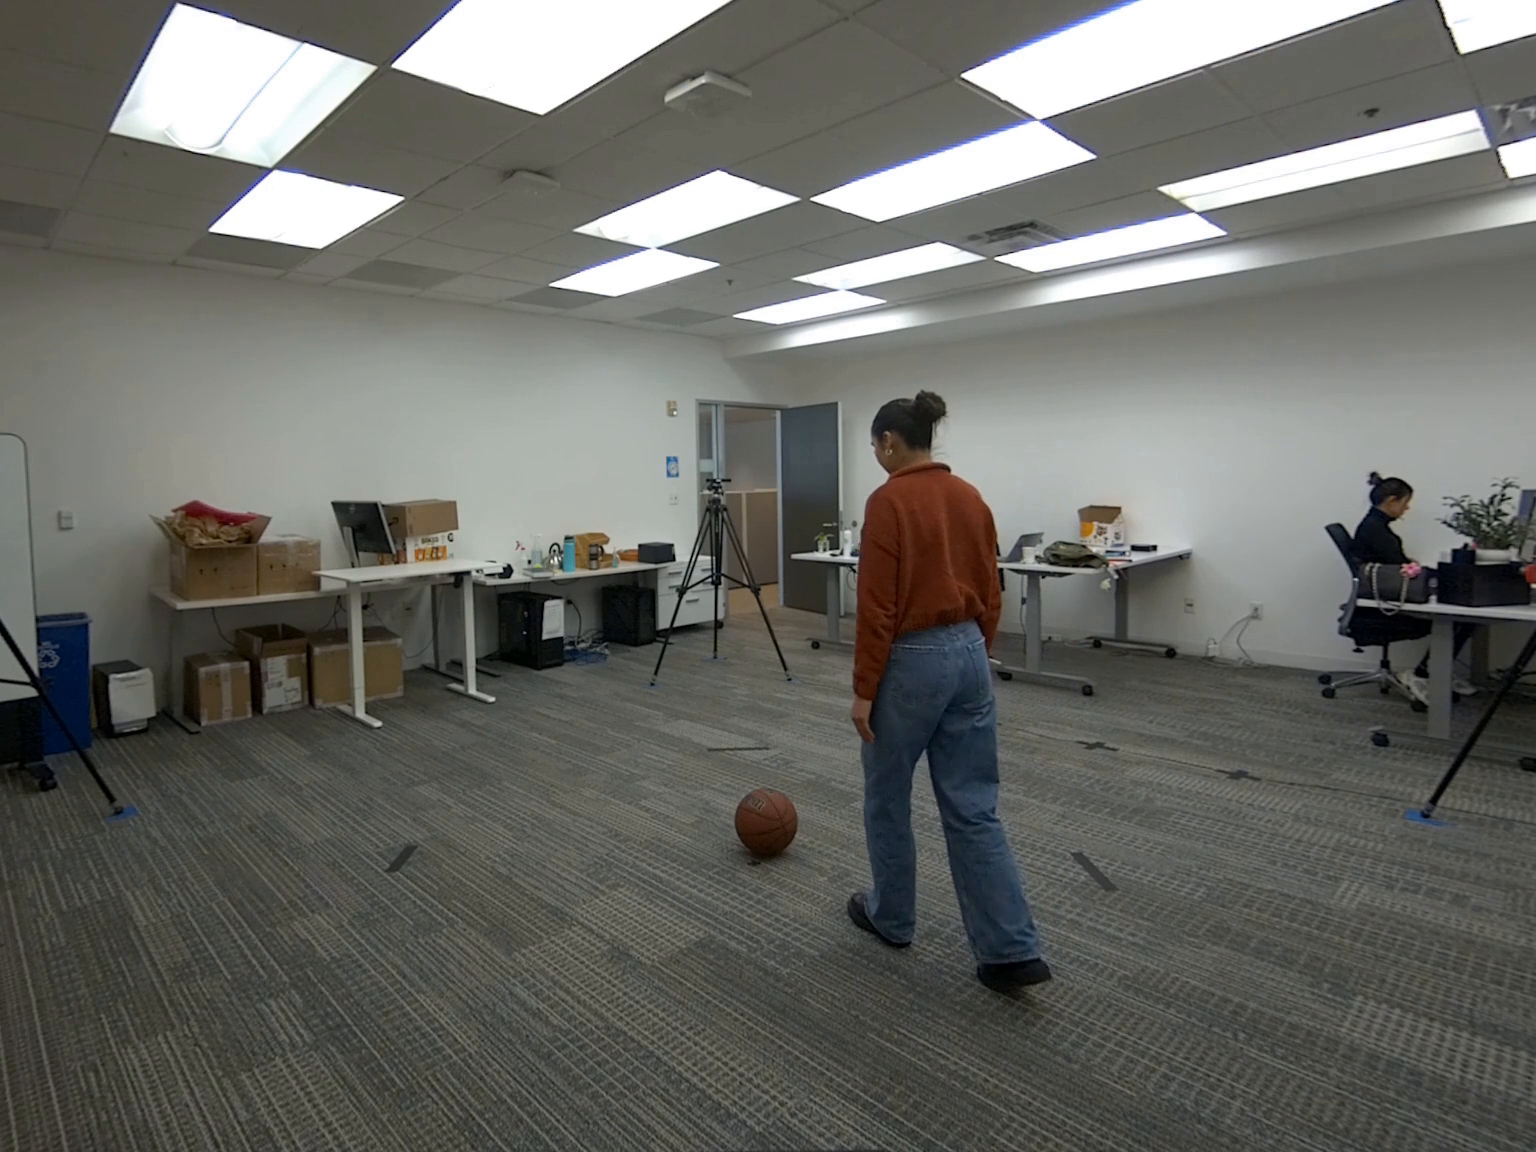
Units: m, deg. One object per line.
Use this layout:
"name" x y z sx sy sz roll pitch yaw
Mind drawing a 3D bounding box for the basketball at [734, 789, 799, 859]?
"basketball" -0.002 0.917 3.187 0.236 0.235 0.237 -1 5 -2
